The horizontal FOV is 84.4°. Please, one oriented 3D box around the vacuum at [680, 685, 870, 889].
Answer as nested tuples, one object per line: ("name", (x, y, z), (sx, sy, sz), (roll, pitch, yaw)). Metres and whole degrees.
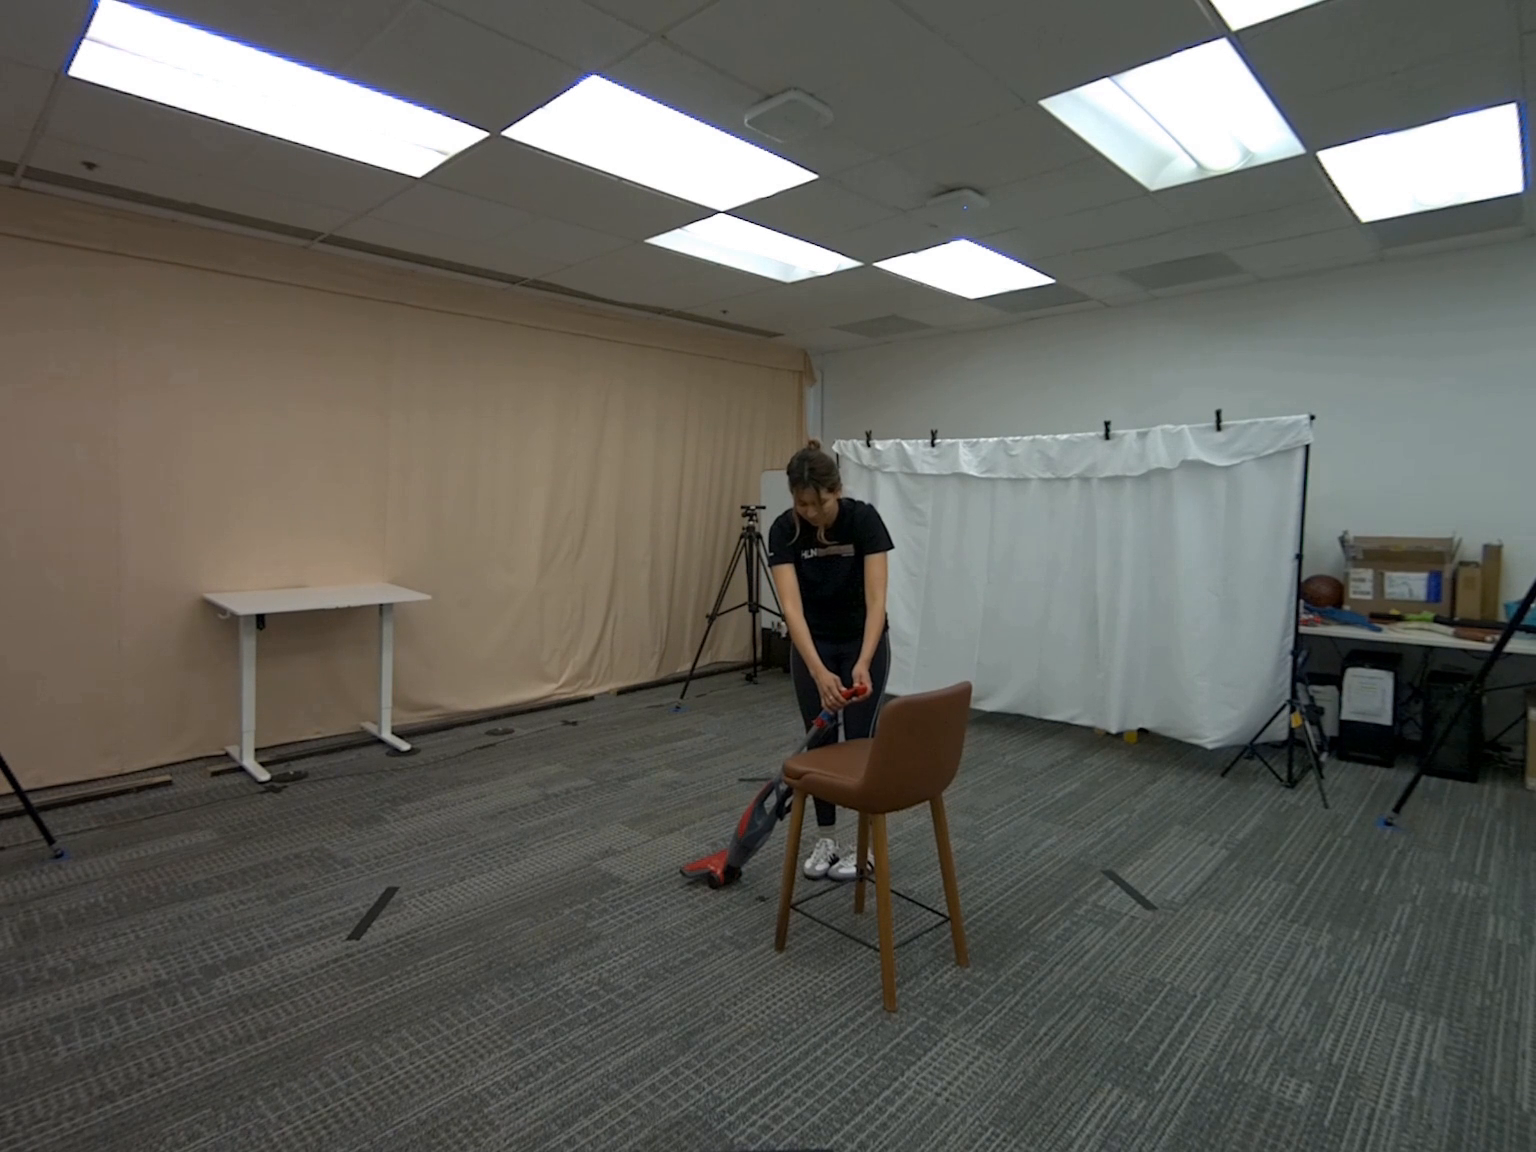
("vacuum", (0.047, 0.741, 2.871), (0.245, 1.051, 0.148), (-10, 53, -49))
